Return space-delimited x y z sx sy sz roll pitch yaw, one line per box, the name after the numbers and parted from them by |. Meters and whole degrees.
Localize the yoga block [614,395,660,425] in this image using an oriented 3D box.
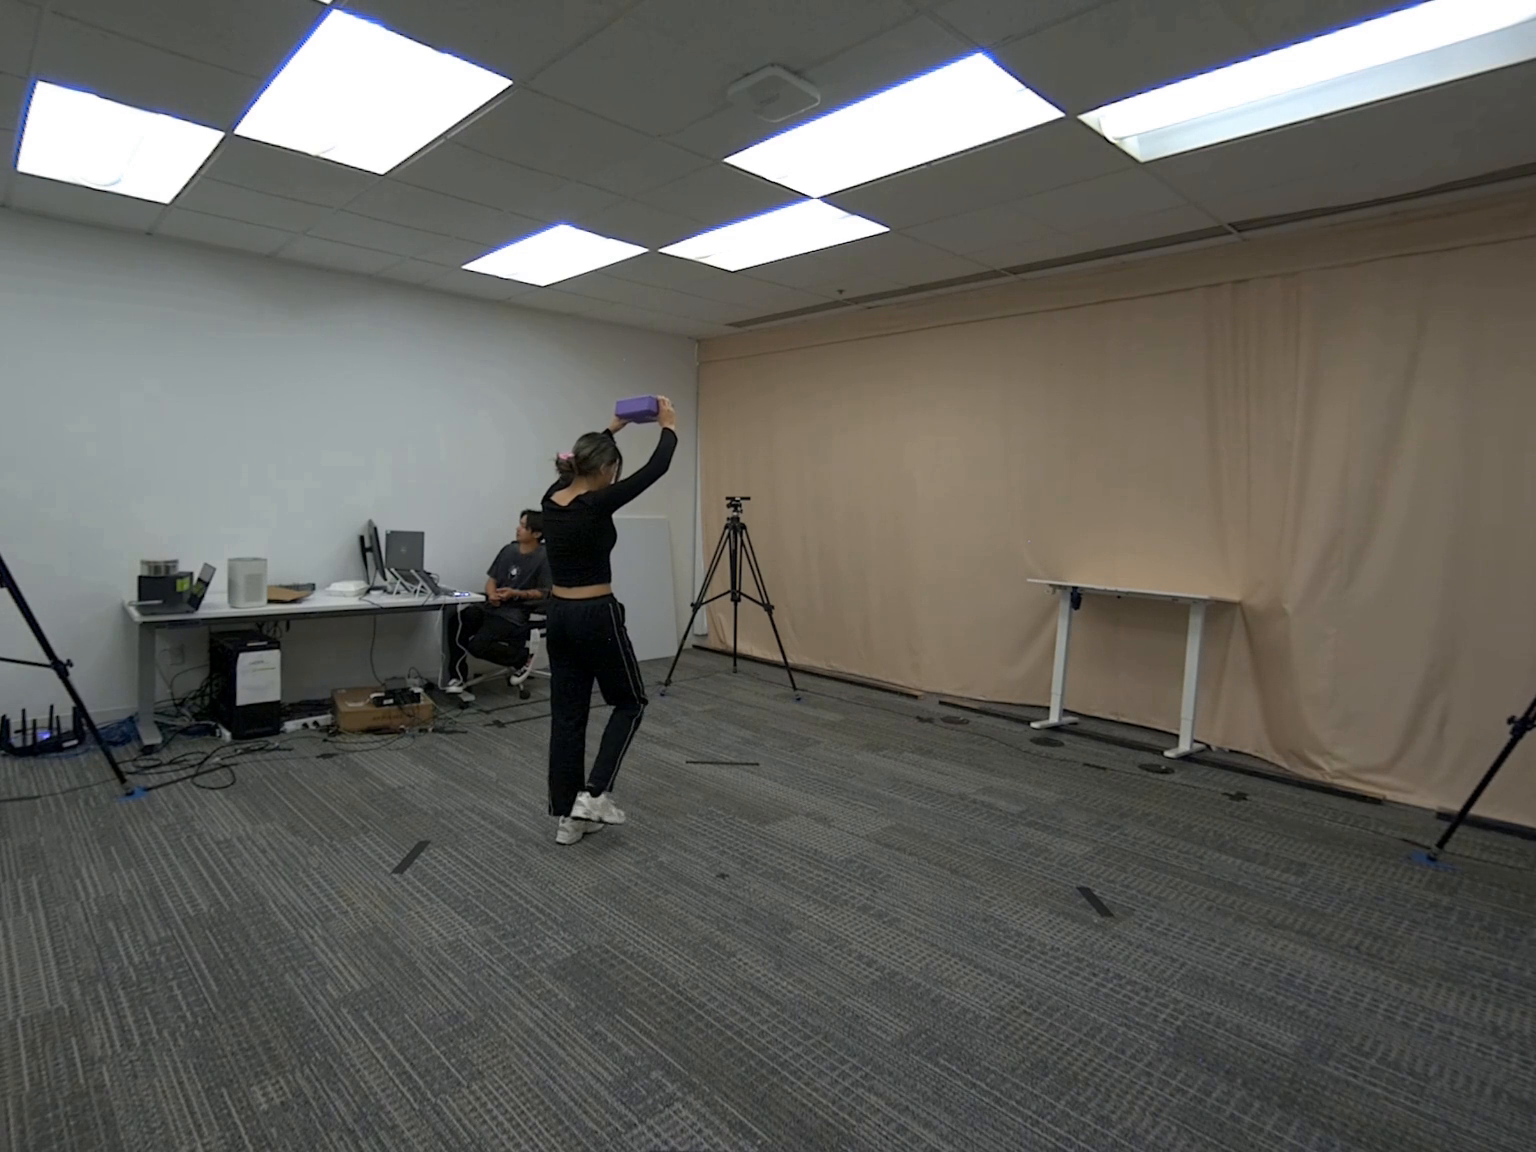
-0.549 -0.719 3.667 0.235 0.076 0.145 2 -3 38 | yoga block
